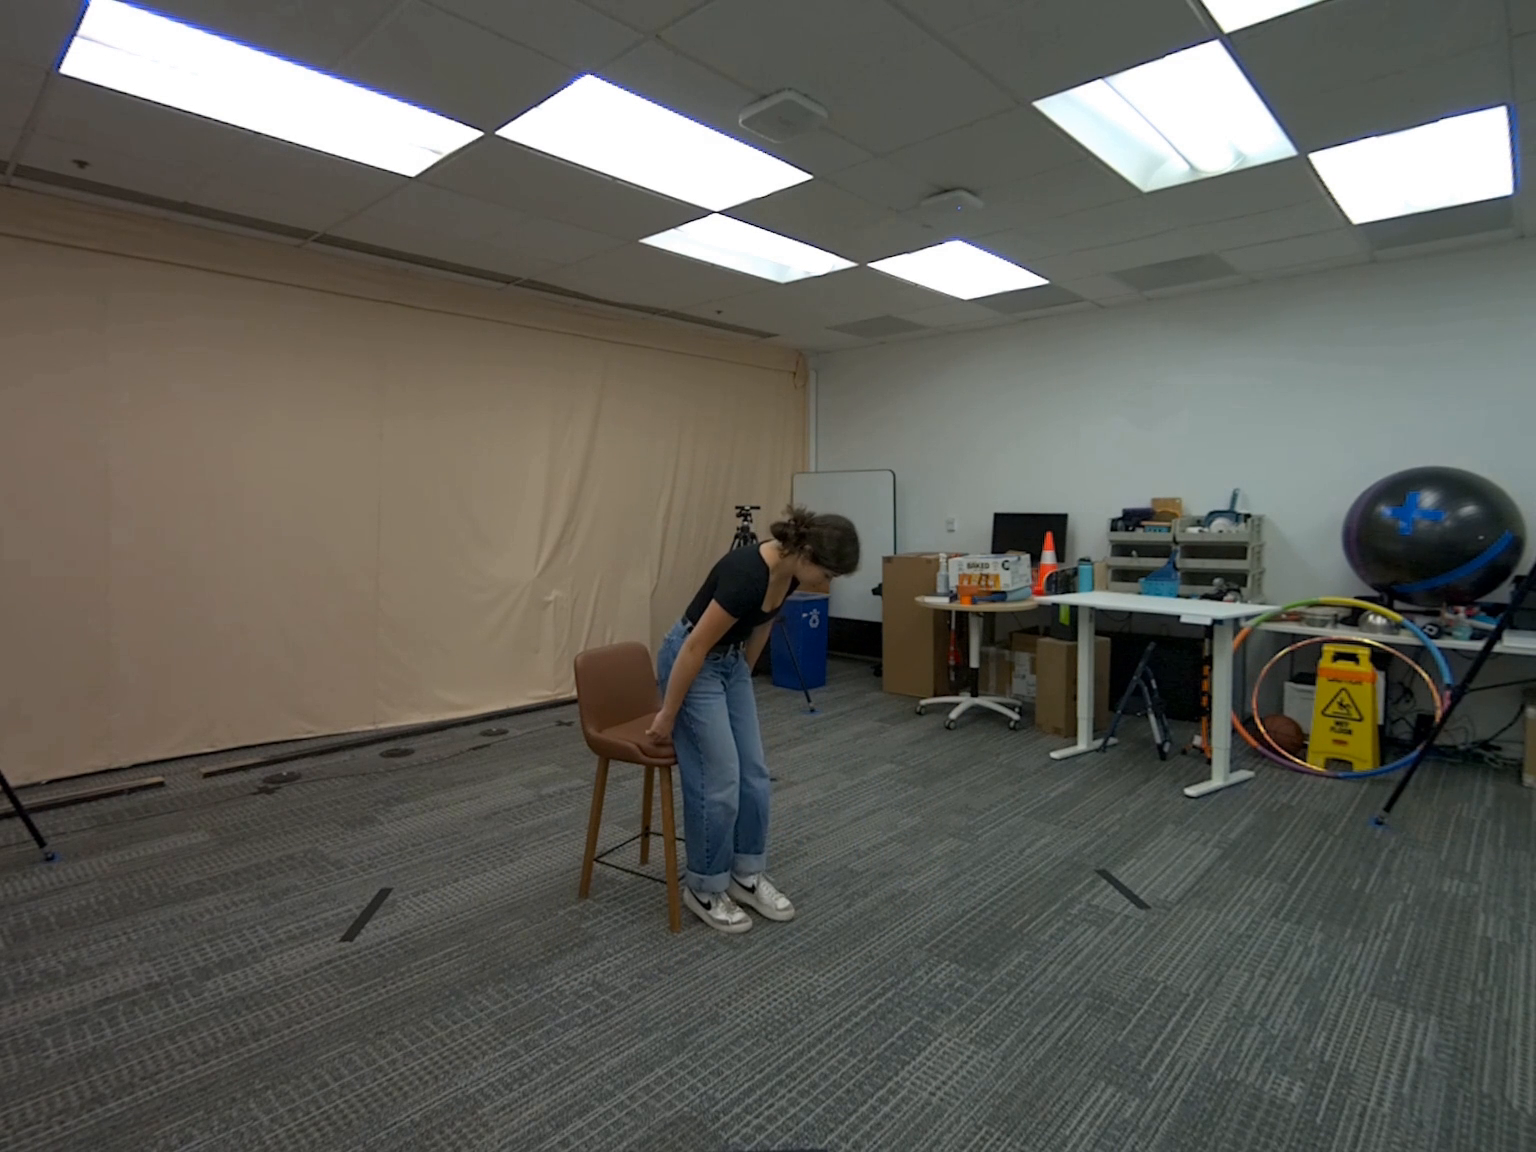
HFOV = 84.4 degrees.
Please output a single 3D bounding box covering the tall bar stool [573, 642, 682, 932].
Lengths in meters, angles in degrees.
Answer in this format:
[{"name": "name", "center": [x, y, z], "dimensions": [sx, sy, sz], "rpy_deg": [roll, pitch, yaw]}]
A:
[{"name": "tall bar stool", "center": [-0.398, 0.713, 3.020], "dimensions": [0.481, 0.888, 0.444], "rpy_deg": [0, 3, 32]}]
